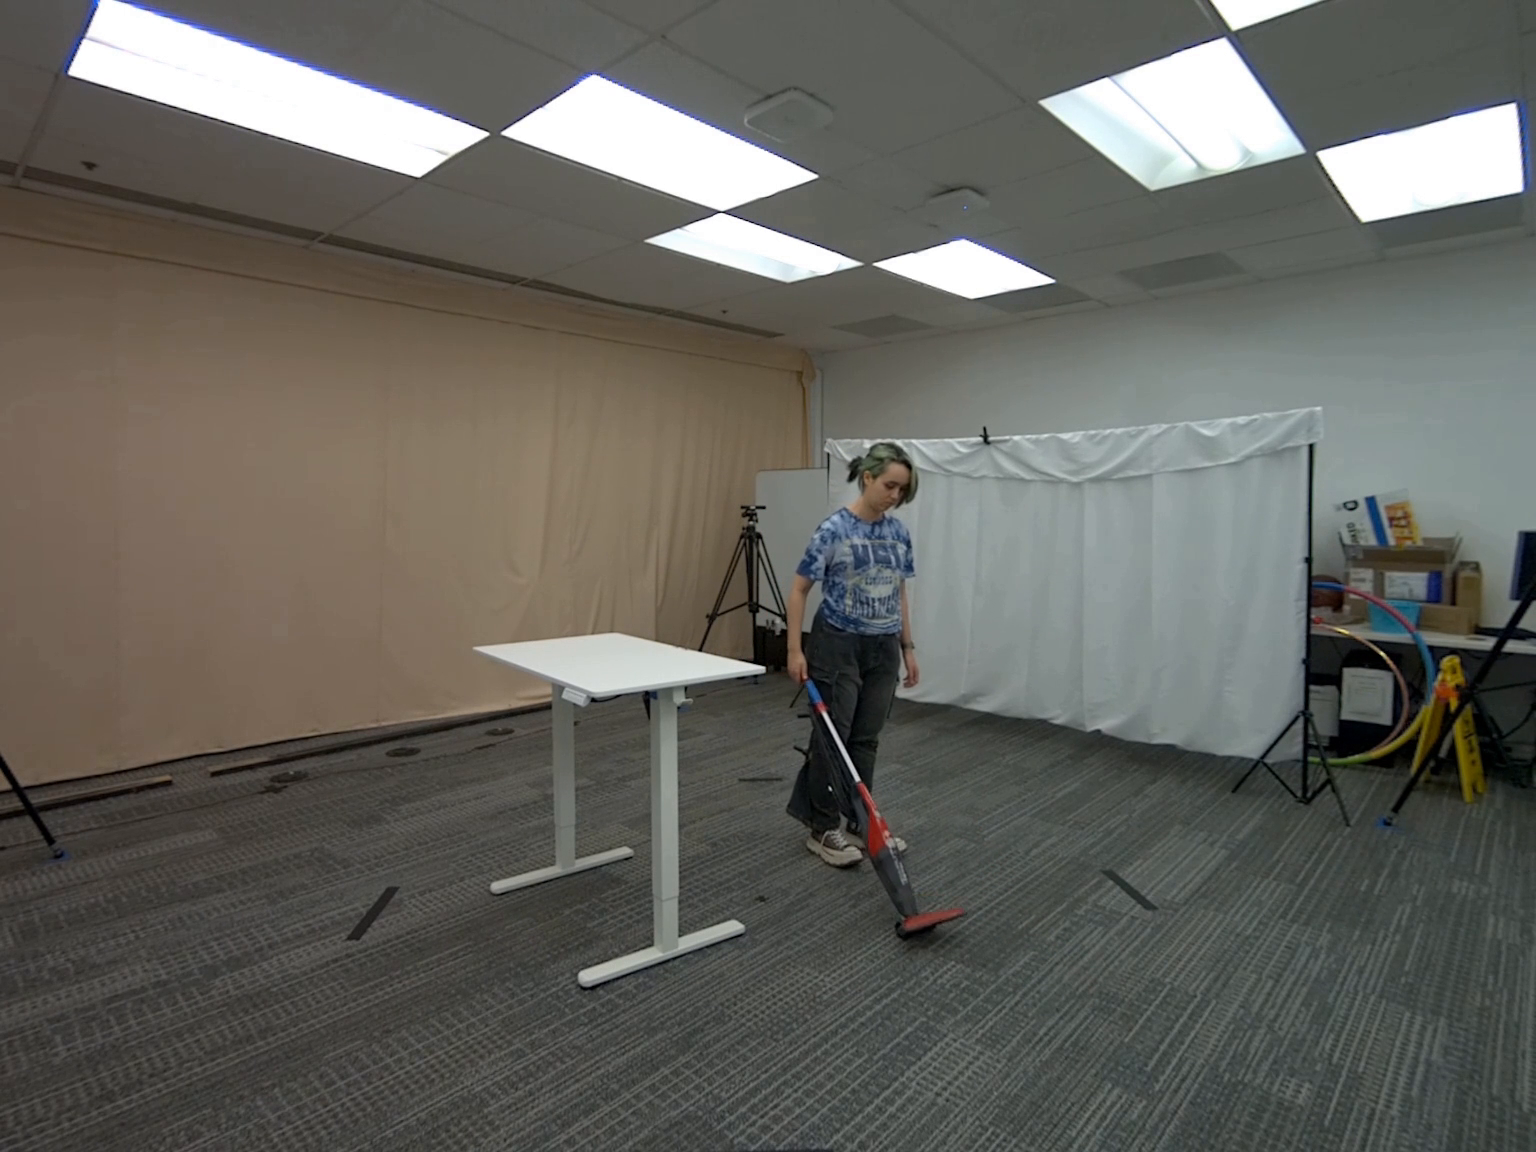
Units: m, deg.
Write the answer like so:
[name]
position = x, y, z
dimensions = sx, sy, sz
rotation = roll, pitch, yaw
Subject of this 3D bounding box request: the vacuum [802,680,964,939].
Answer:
[vacuum]
position = 0.310, 0.764, 3.018
dimensions = 0.245, 0.143, 1.082
rotation = 0, 43, -32
